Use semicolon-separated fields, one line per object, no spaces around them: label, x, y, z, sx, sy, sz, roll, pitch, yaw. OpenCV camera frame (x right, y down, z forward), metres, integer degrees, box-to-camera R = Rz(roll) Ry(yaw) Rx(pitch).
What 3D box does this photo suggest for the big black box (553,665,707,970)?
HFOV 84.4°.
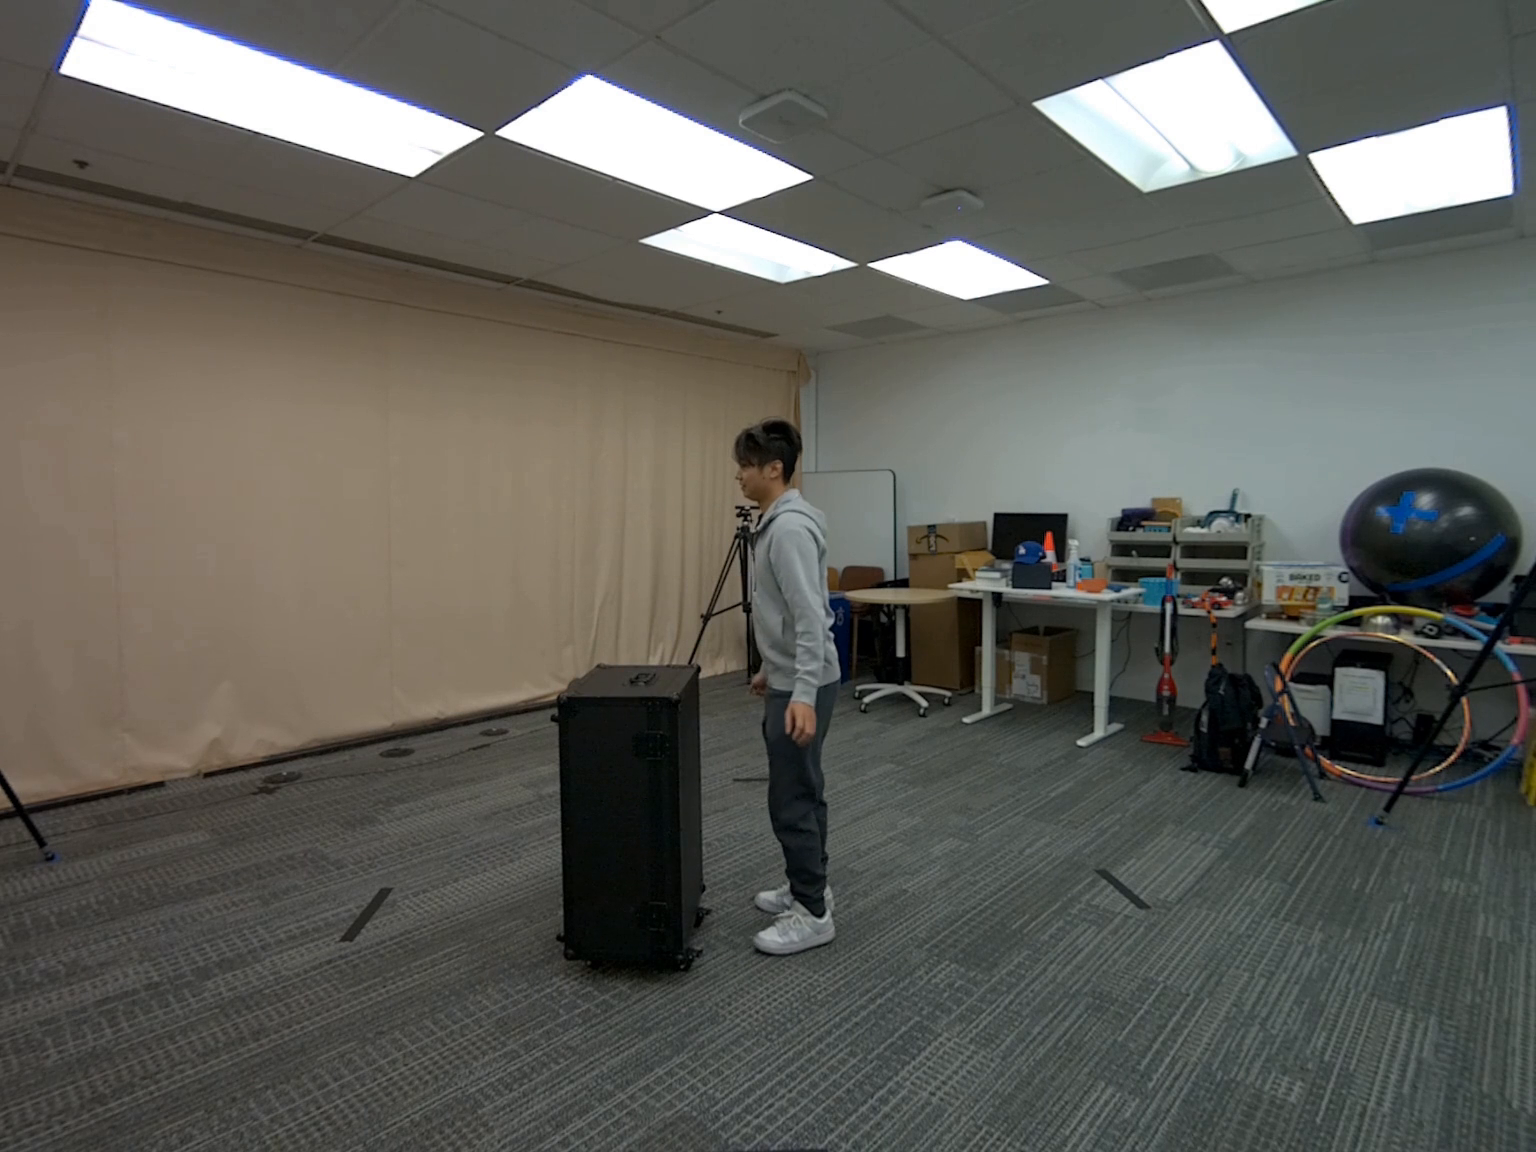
big black box;-0.423;0.750;2.660;0.398;0.860;0.519;-1;3;4
